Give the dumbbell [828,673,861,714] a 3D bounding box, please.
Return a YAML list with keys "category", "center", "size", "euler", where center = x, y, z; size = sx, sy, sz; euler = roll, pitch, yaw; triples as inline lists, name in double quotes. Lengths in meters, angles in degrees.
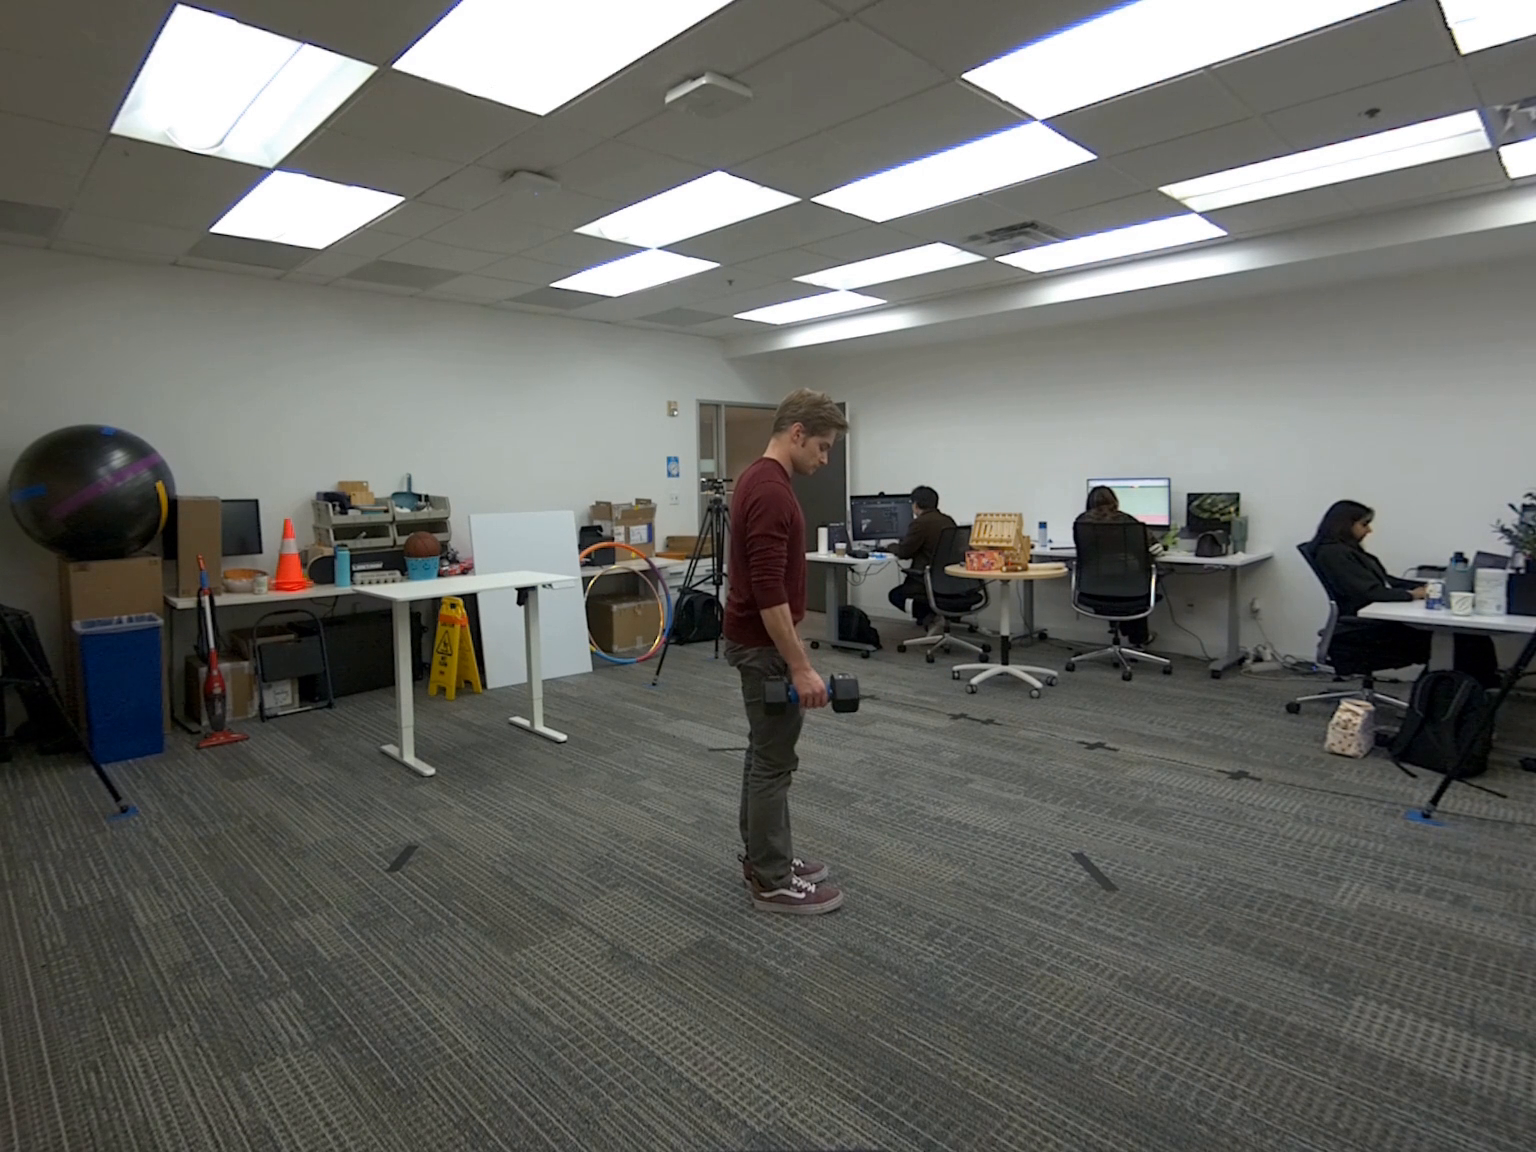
- category: "dumbbell"
  center: [0.133, 0.353, 2.592]
  size: [0.294, 0.125, 0.106]
  euler: [-4, -22, 2]
